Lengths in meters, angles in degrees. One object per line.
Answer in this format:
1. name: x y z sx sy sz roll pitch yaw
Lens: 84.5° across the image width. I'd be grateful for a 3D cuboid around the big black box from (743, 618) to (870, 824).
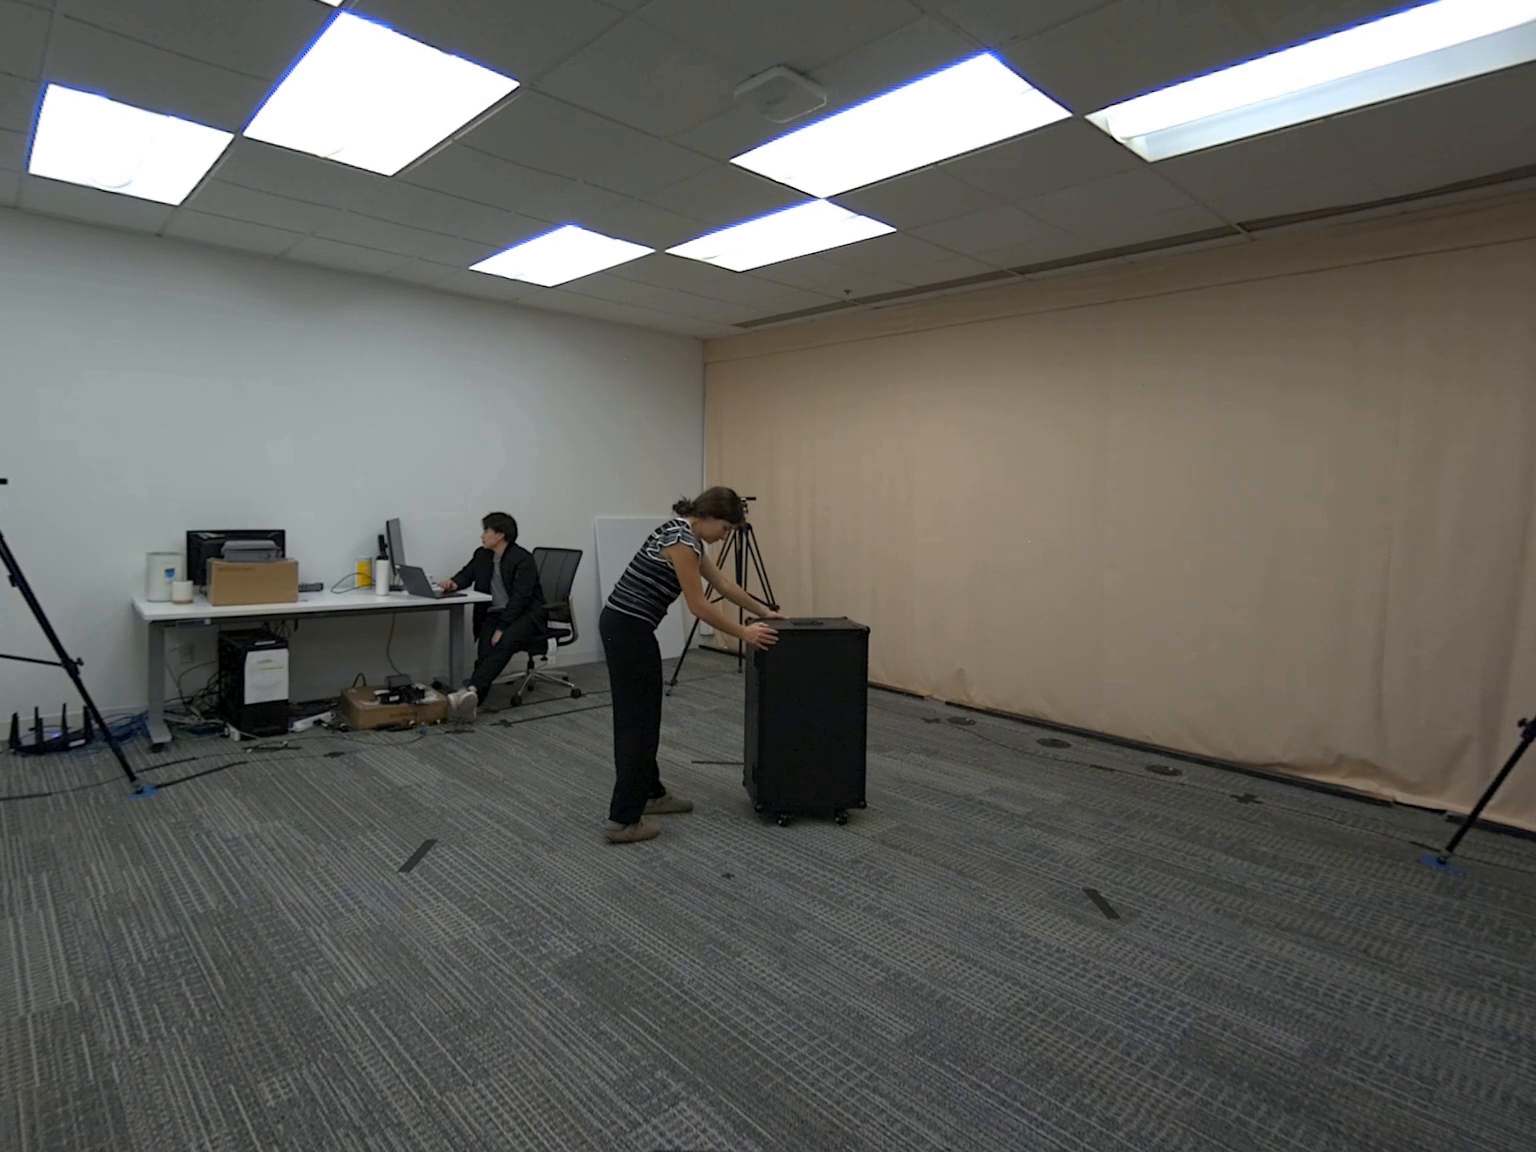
1. big black box: 0.142 0.638 3.765 0.517 0.861 0.399 1 1 -9
